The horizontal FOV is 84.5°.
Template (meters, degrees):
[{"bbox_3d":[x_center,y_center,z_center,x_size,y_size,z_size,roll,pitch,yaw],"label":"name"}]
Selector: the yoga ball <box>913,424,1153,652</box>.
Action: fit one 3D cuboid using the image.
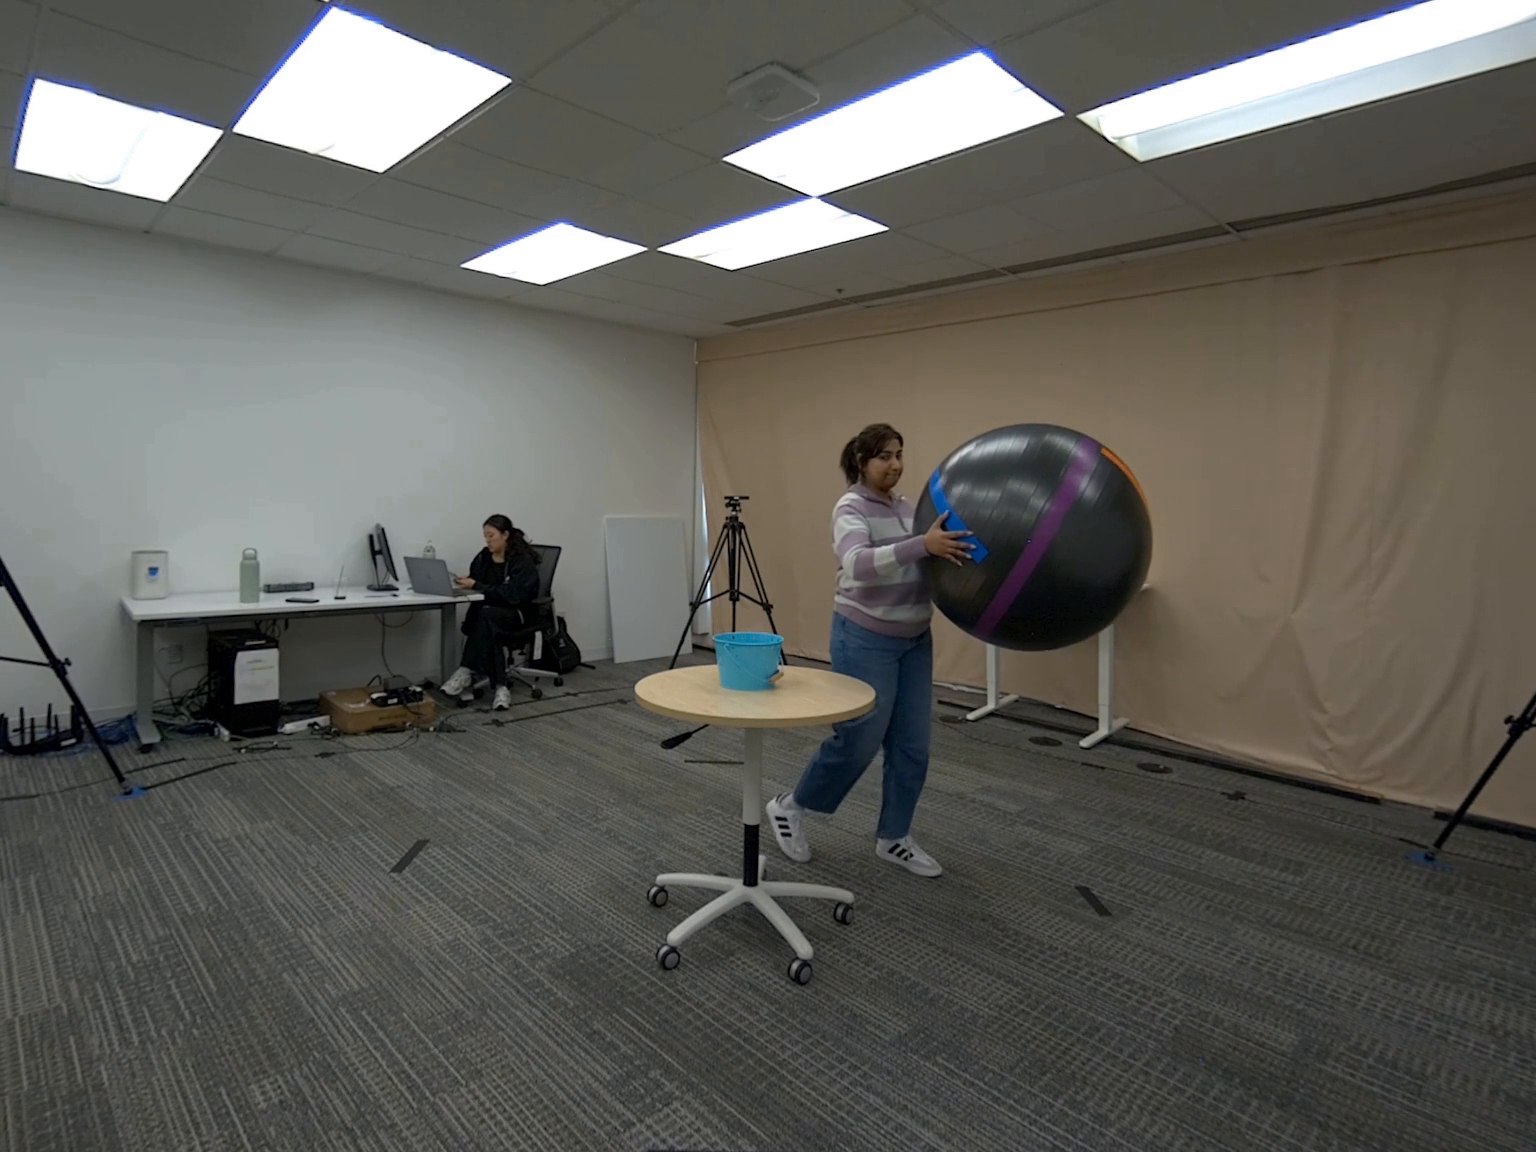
[{"bbox_3d":[0.876,-0.119,2.820,0.757,0.756,0.761,1,4,-1],"label":"yoga ball"}]
